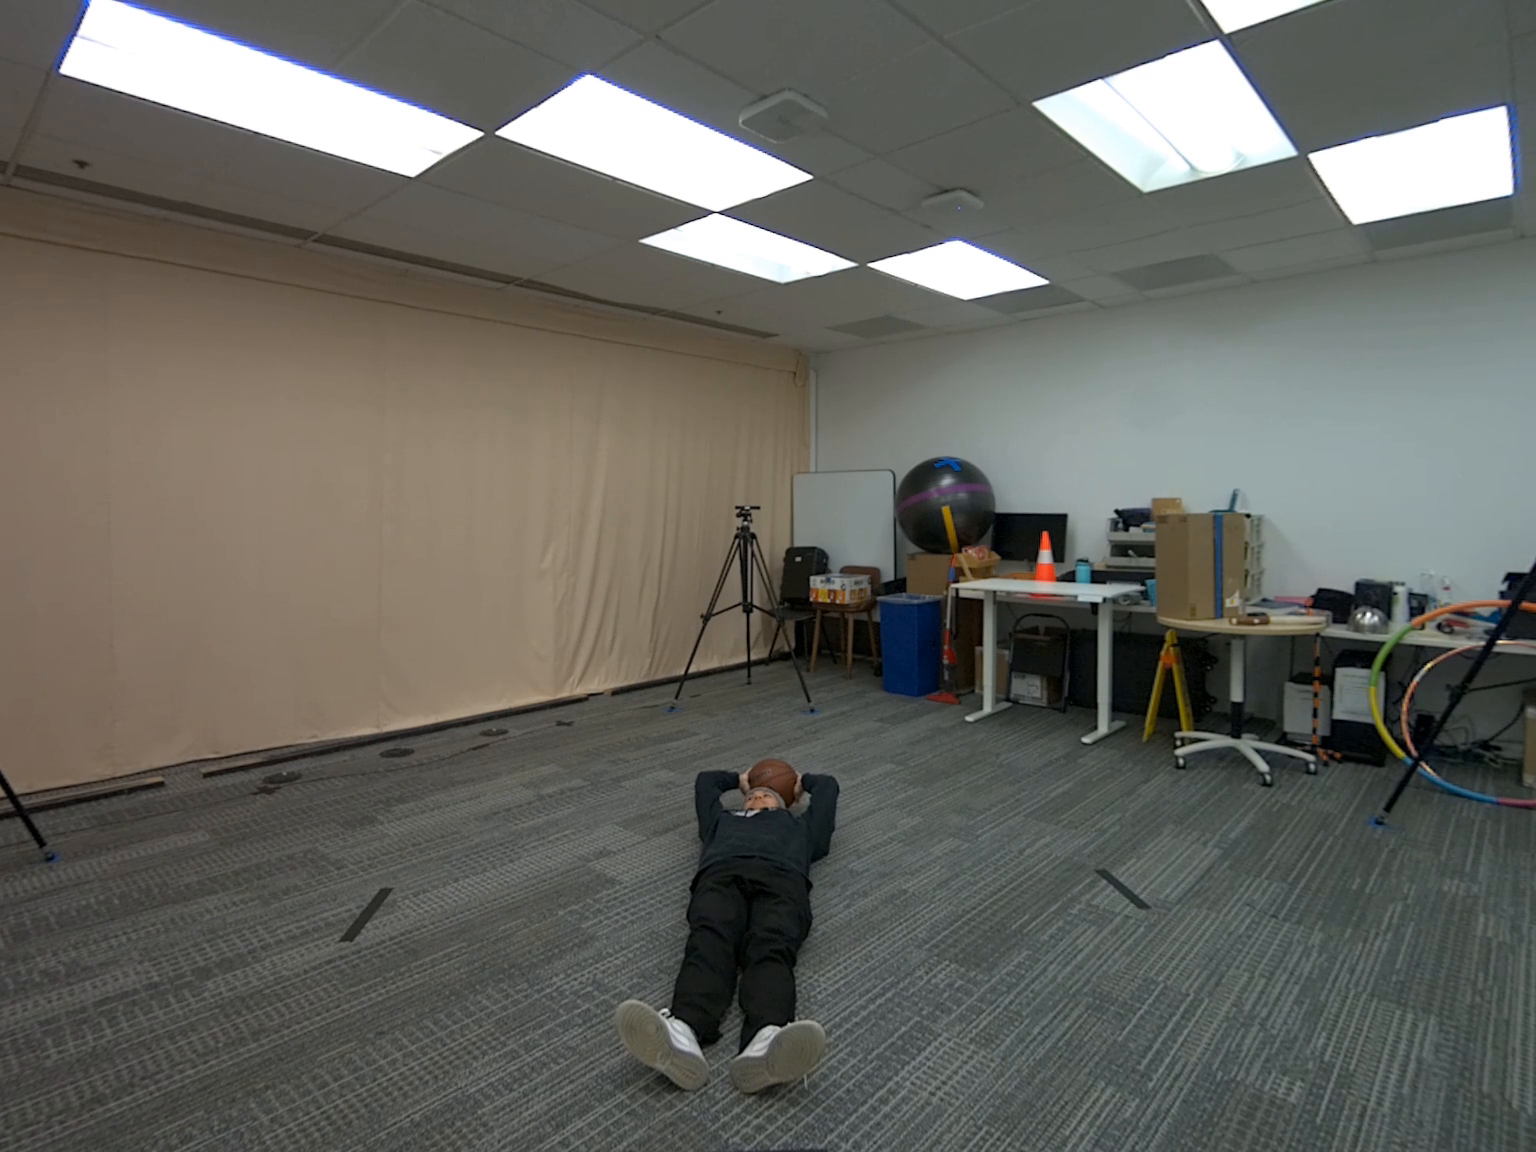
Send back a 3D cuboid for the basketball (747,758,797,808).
[{"bbox_3d":[0.027,0.940,3.819,0.236,0.235,0.237,0,4,-2],"label":"basketball"}]
